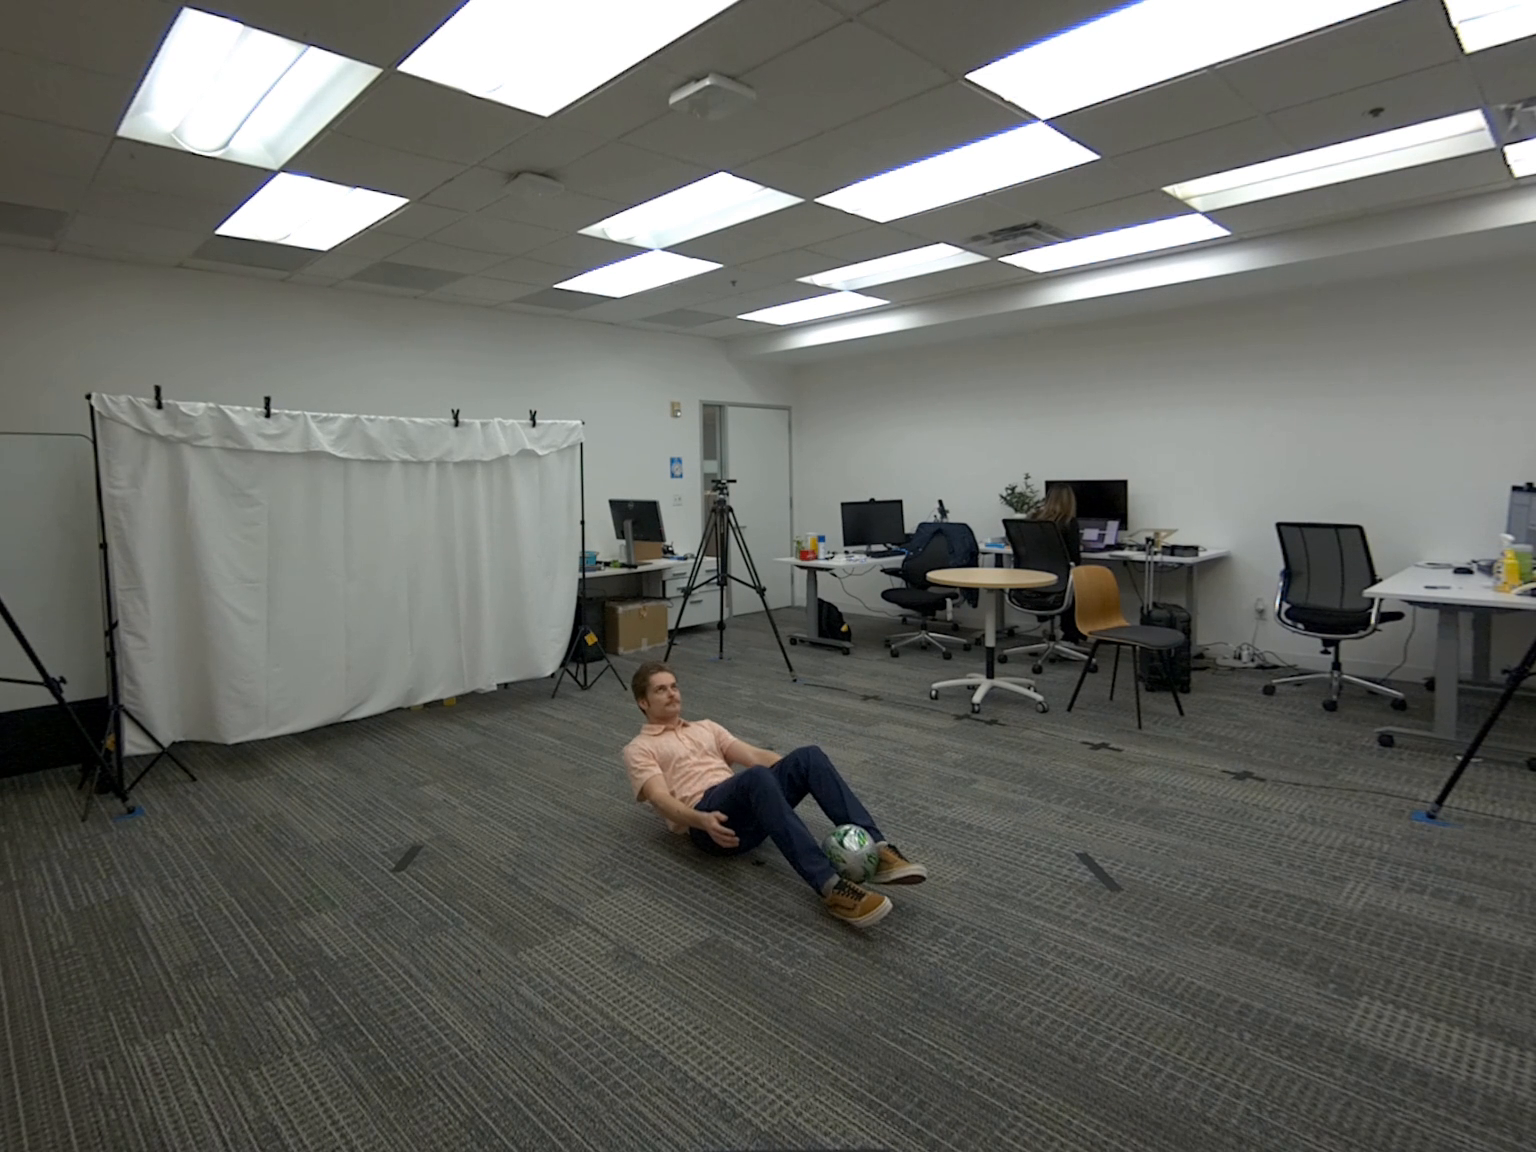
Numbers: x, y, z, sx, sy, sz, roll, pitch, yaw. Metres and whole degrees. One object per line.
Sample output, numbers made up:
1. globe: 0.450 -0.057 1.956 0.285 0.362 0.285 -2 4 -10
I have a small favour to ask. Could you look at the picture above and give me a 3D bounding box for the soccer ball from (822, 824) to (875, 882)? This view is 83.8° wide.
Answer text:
1. soccer ball: 0.256 0.902 2.792 0.187 0.187 0.188 -1 5 -2
